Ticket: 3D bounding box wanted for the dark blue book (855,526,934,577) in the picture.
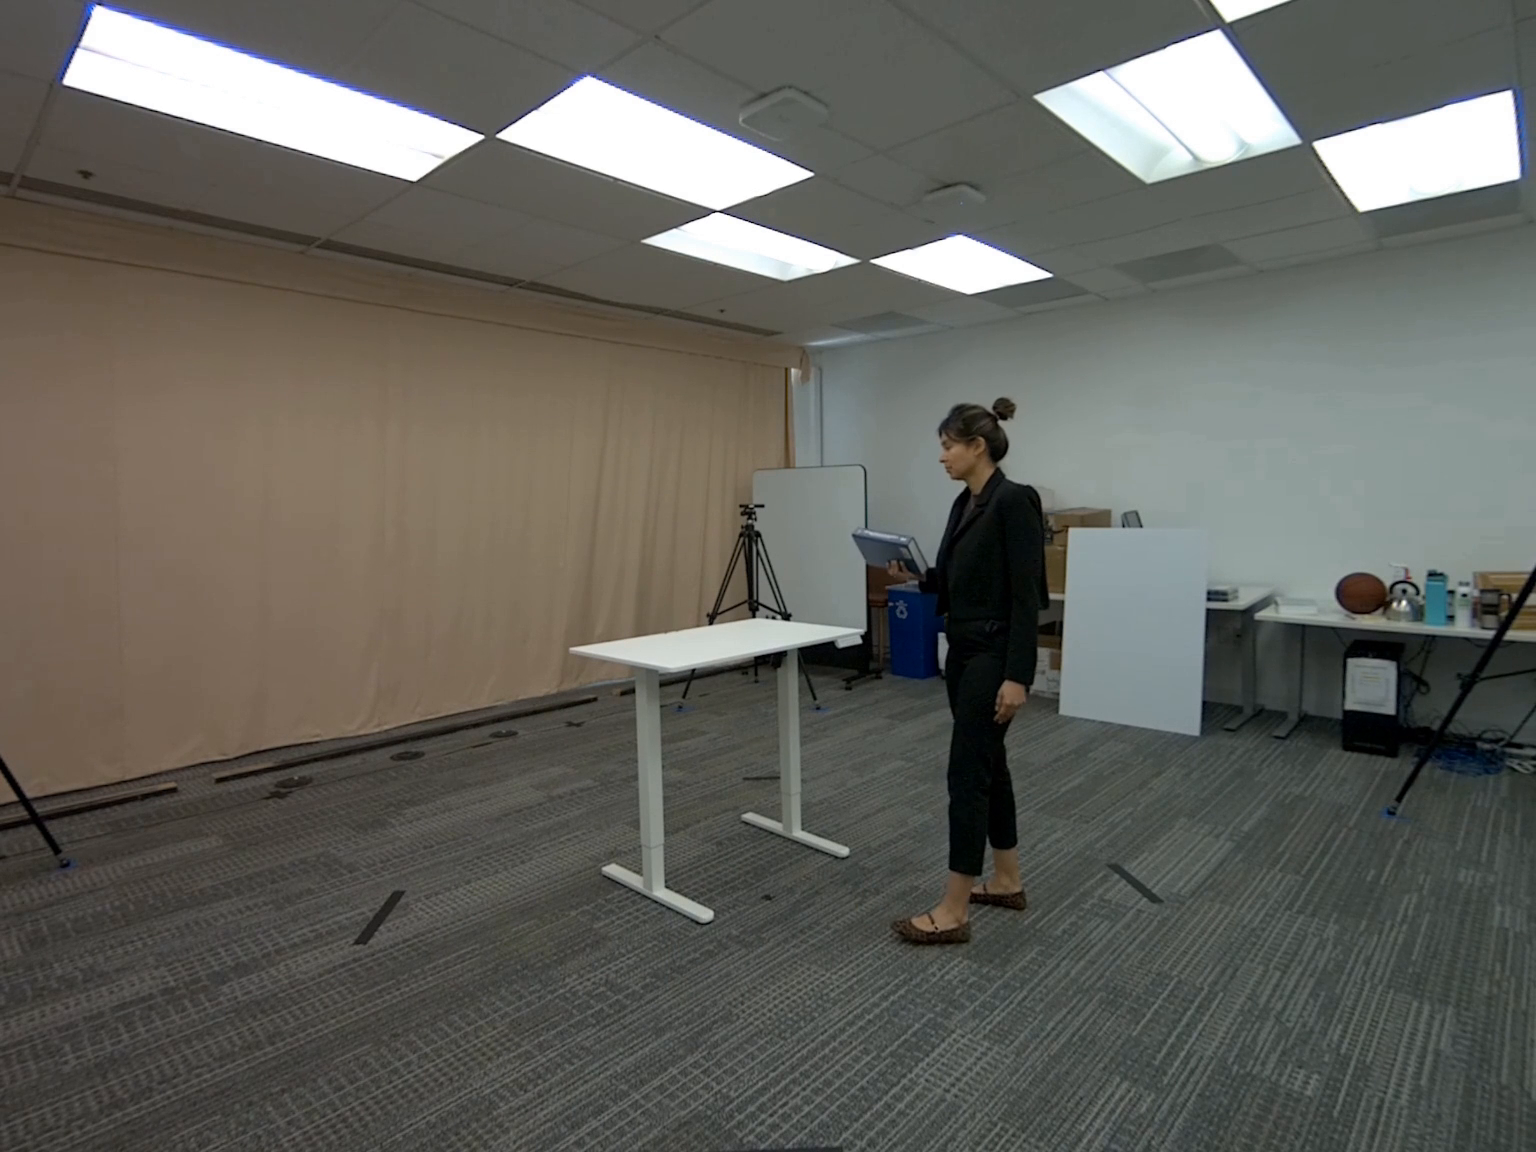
[{"bbox_3d":[0.445,-0.086,2.980,0.254,0.158,0.045,14,57,45],"label":"dark blue book"}]
